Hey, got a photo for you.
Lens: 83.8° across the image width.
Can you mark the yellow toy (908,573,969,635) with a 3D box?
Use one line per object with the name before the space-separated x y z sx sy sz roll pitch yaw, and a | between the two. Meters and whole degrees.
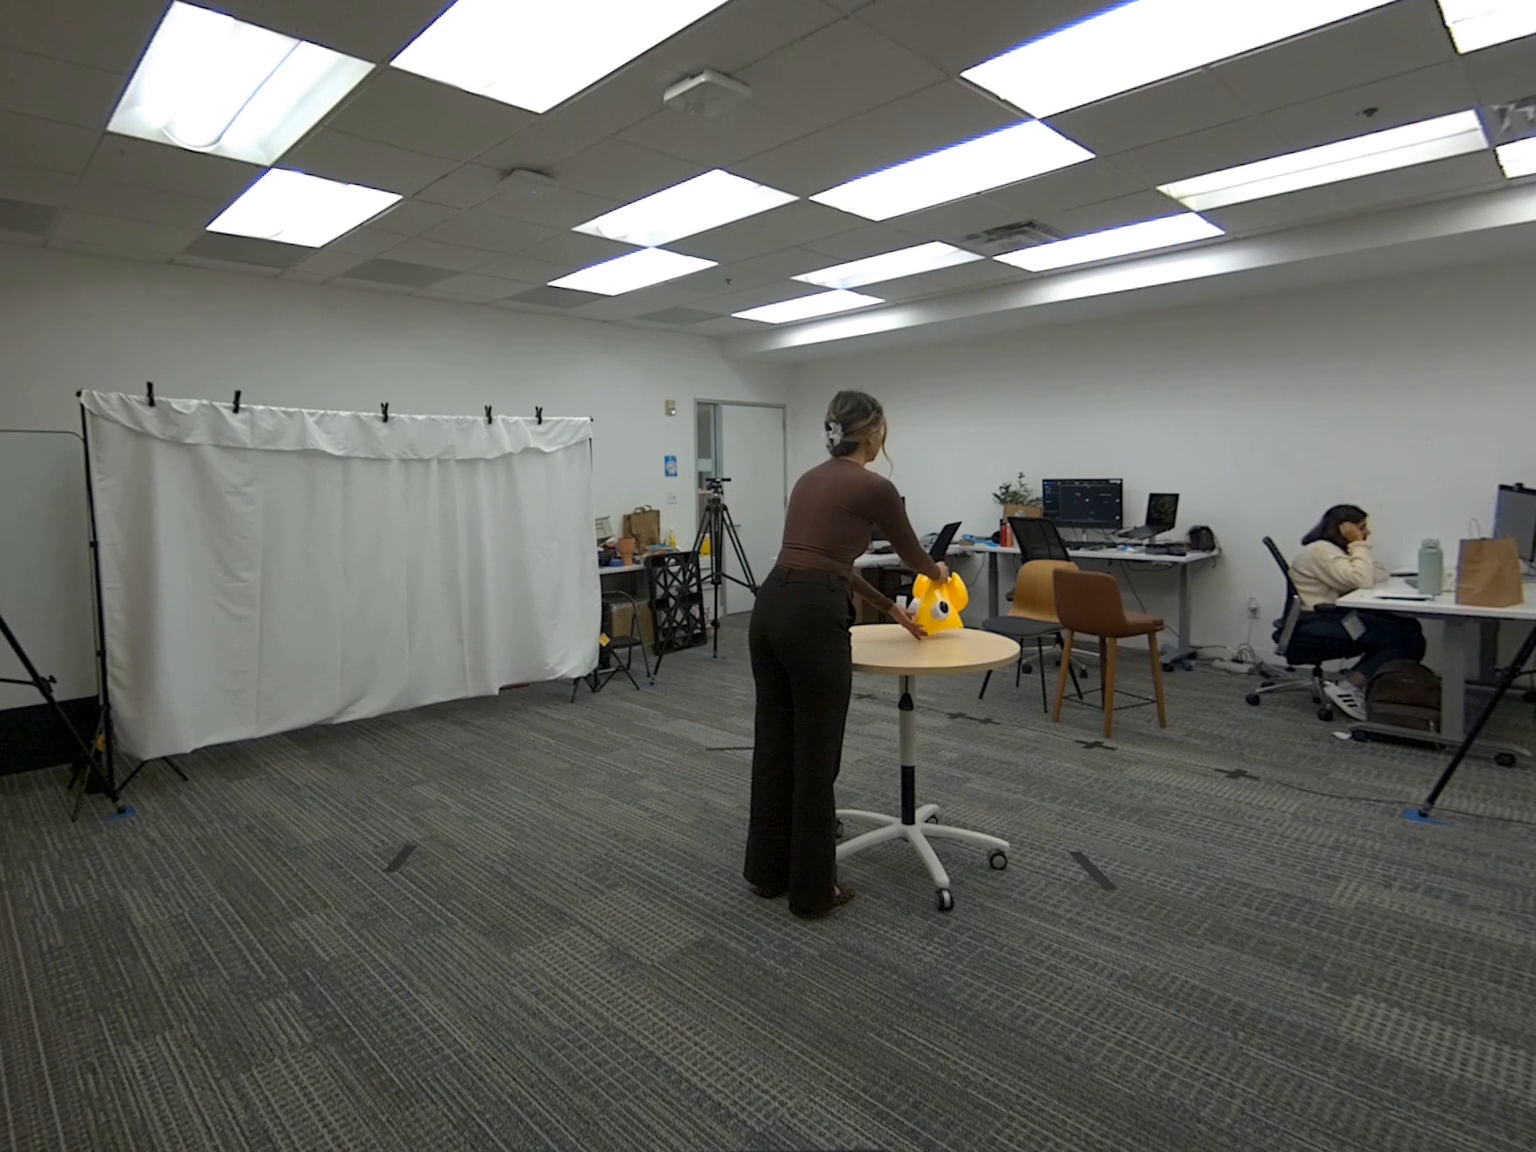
yellow toy | 0.601 0.116 3.147 0.211 0.189 0.229 3 27 37
